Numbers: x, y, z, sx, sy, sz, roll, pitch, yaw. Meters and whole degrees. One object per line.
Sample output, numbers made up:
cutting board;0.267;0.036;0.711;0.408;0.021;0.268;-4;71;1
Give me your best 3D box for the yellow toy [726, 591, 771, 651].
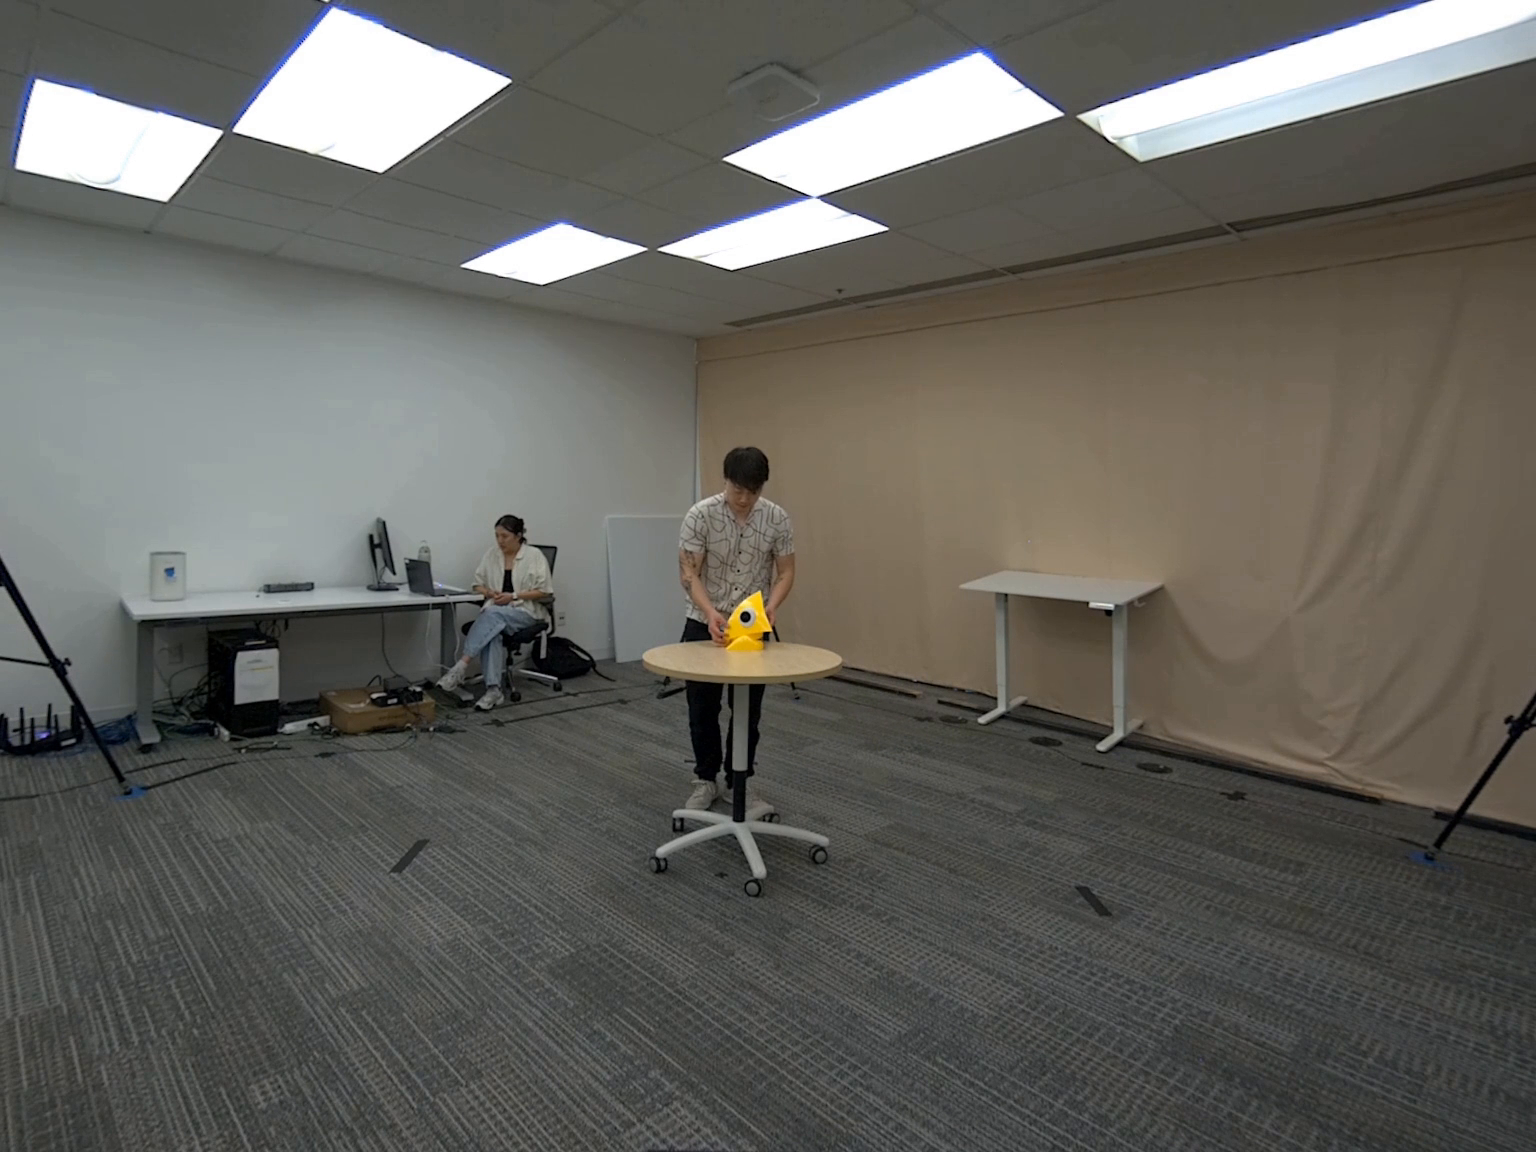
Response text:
yellow toy;-0.104;0.177;3.457;0.191;0.230;0.207;-1;3;-11
